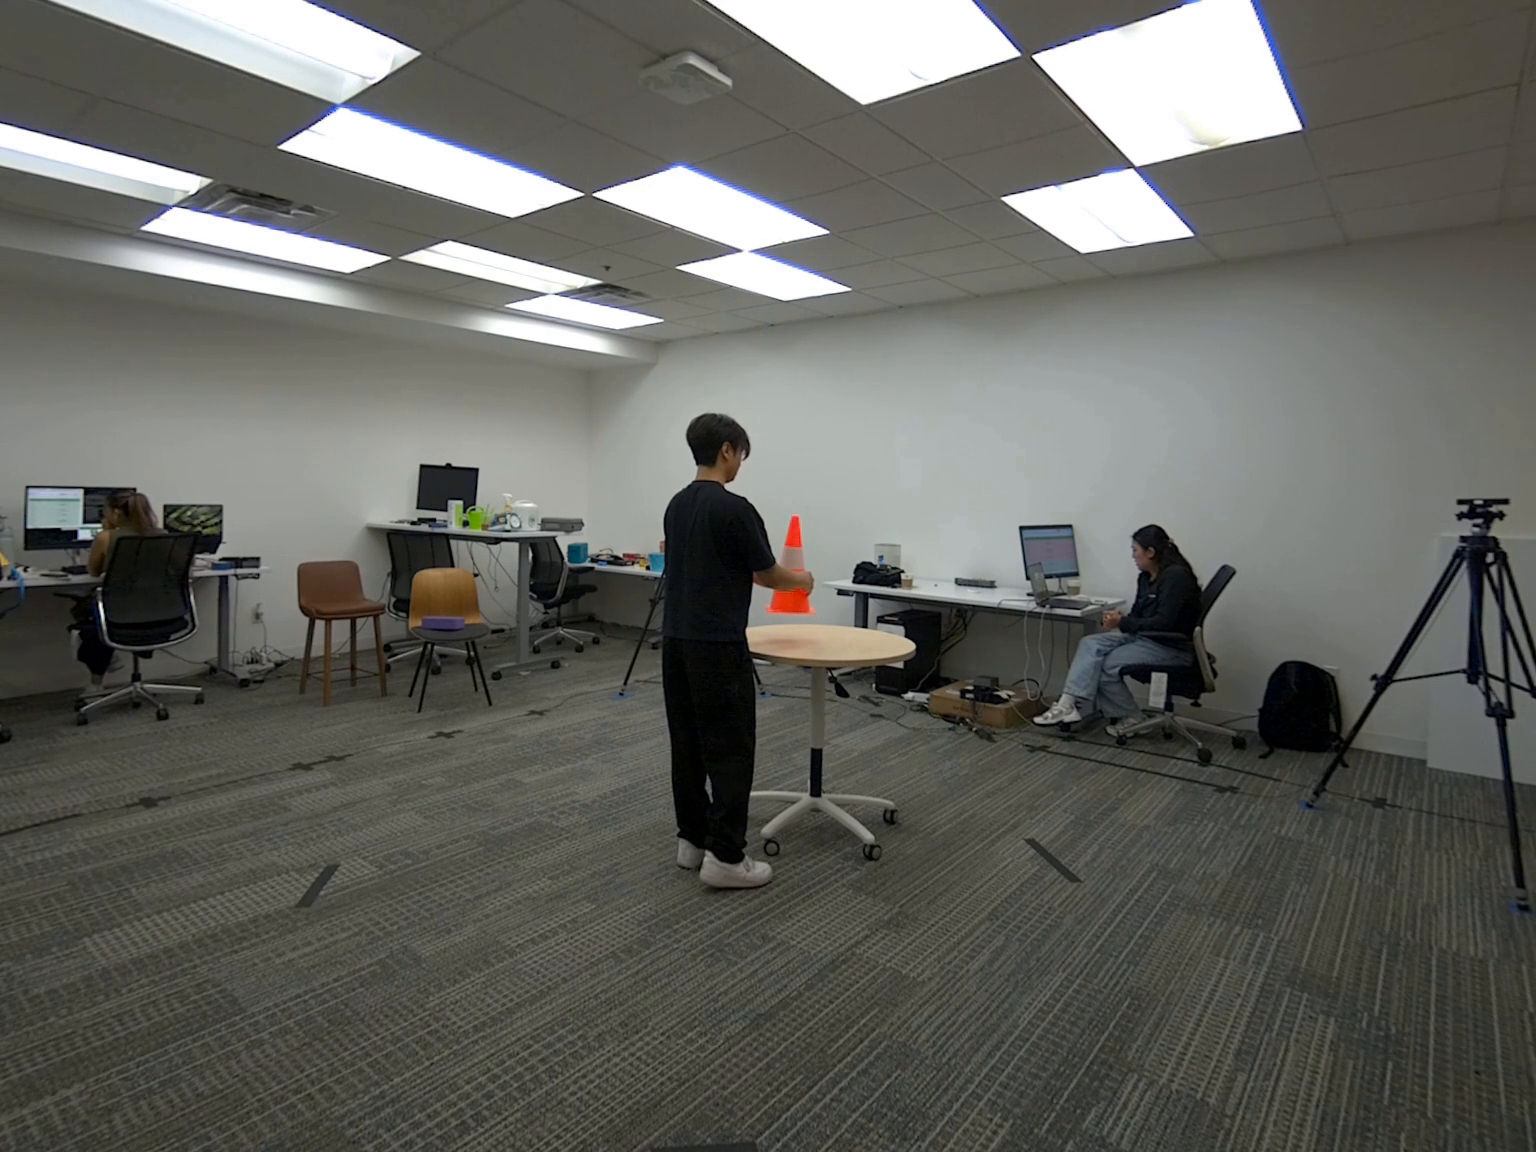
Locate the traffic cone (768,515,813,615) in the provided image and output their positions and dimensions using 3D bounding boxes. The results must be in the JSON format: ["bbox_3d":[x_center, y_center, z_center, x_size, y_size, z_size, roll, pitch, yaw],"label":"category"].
[{"bbox_3d":[0.094,-0.052,3.432,0.210,0.382,0.199,9,5,34],"label":"traffic cone"}]
